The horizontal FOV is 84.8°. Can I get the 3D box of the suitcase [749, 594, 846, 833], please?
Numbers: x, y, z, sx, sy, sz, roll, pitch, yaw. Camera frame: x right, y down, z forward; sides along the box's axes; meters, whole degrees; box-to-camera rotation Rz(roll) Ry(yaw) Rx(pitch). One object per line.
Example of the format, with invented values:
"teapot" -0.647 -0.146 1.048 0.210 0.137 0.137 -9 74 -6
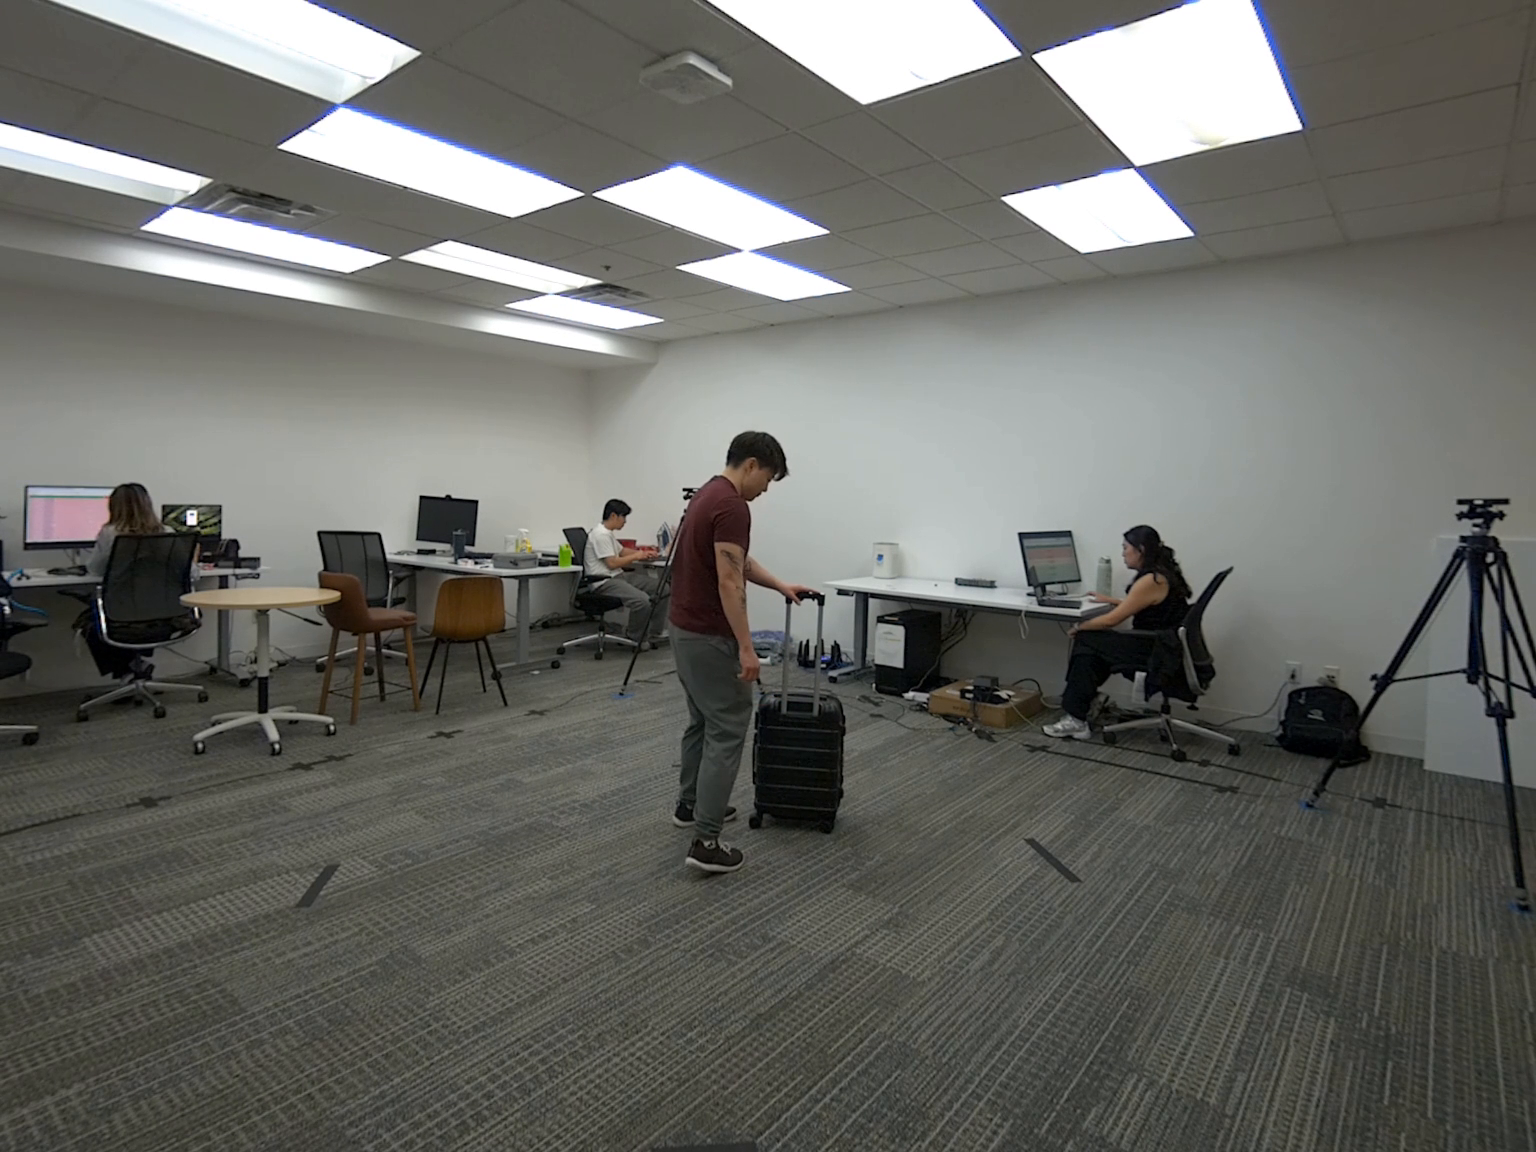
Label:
"suitcase" 0.134 0.557 3.576 0.388 0.977 0.255 4 2 8
